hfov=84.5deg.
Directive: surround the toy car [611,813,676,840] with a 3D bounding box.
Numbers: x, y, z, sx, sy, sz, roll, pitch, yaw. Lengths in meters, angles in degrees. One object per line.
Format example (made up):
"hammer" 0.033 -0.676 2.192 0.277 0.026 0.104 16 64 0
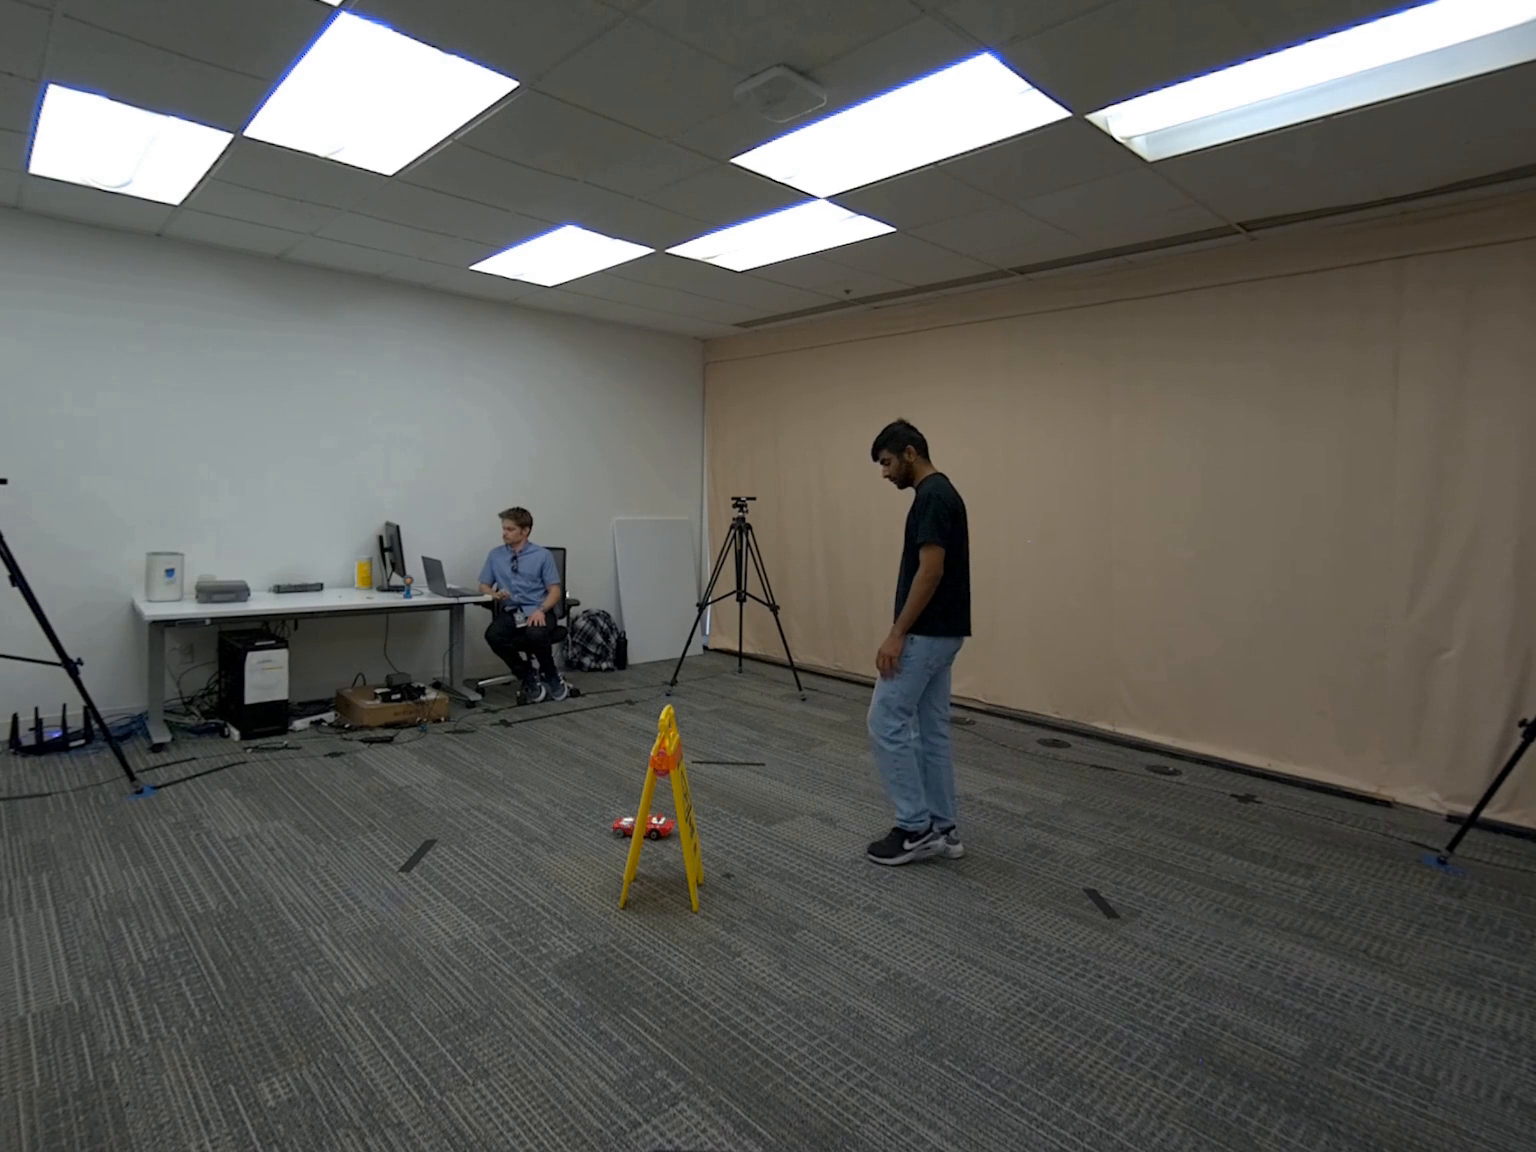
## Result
"toy car" -0.512 1.029 3.470 0.255 0.083 0.130 -9 3 6
